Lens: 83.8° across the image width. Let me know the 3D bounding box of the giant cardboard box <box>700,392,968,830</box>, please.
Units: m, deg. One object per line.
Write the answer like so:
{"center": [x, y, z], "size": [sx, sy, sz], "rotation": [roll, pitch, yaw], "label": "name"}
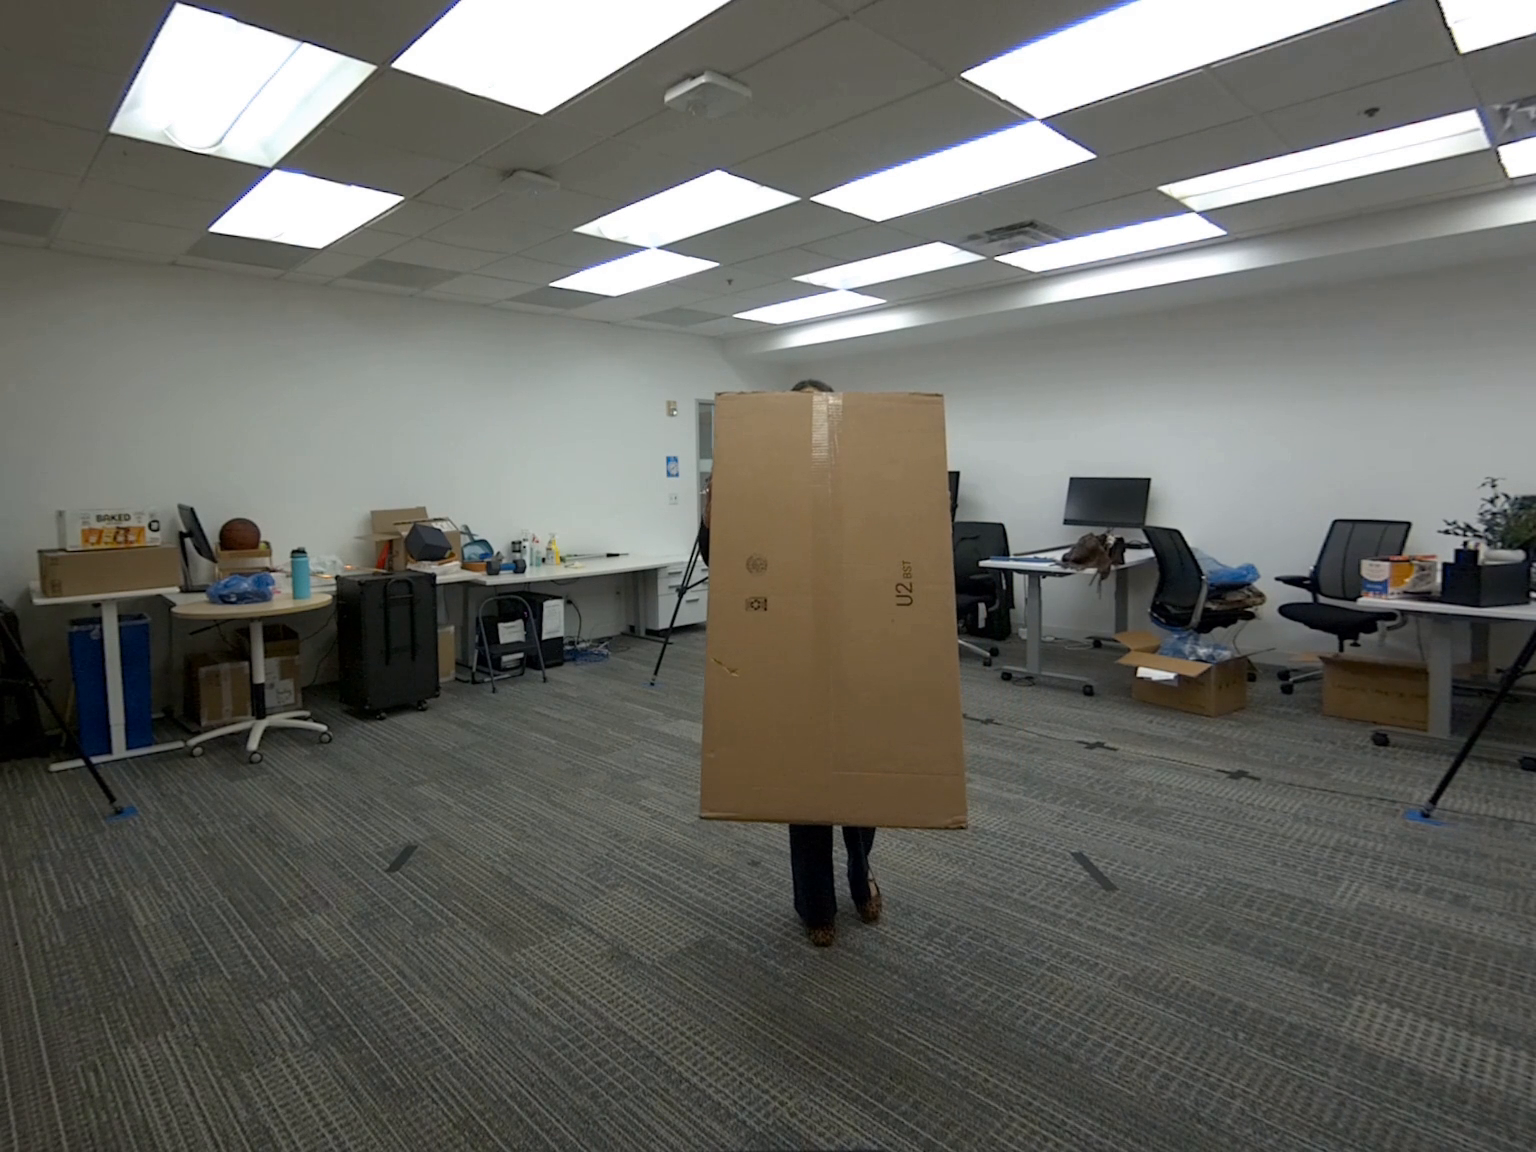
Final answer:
{"center": [0.149, 0.095, 2.170], "size": [0.580, 1.042, 0.418], "rotation": [0, -17, 3], "label": "giant cardboard box"}
